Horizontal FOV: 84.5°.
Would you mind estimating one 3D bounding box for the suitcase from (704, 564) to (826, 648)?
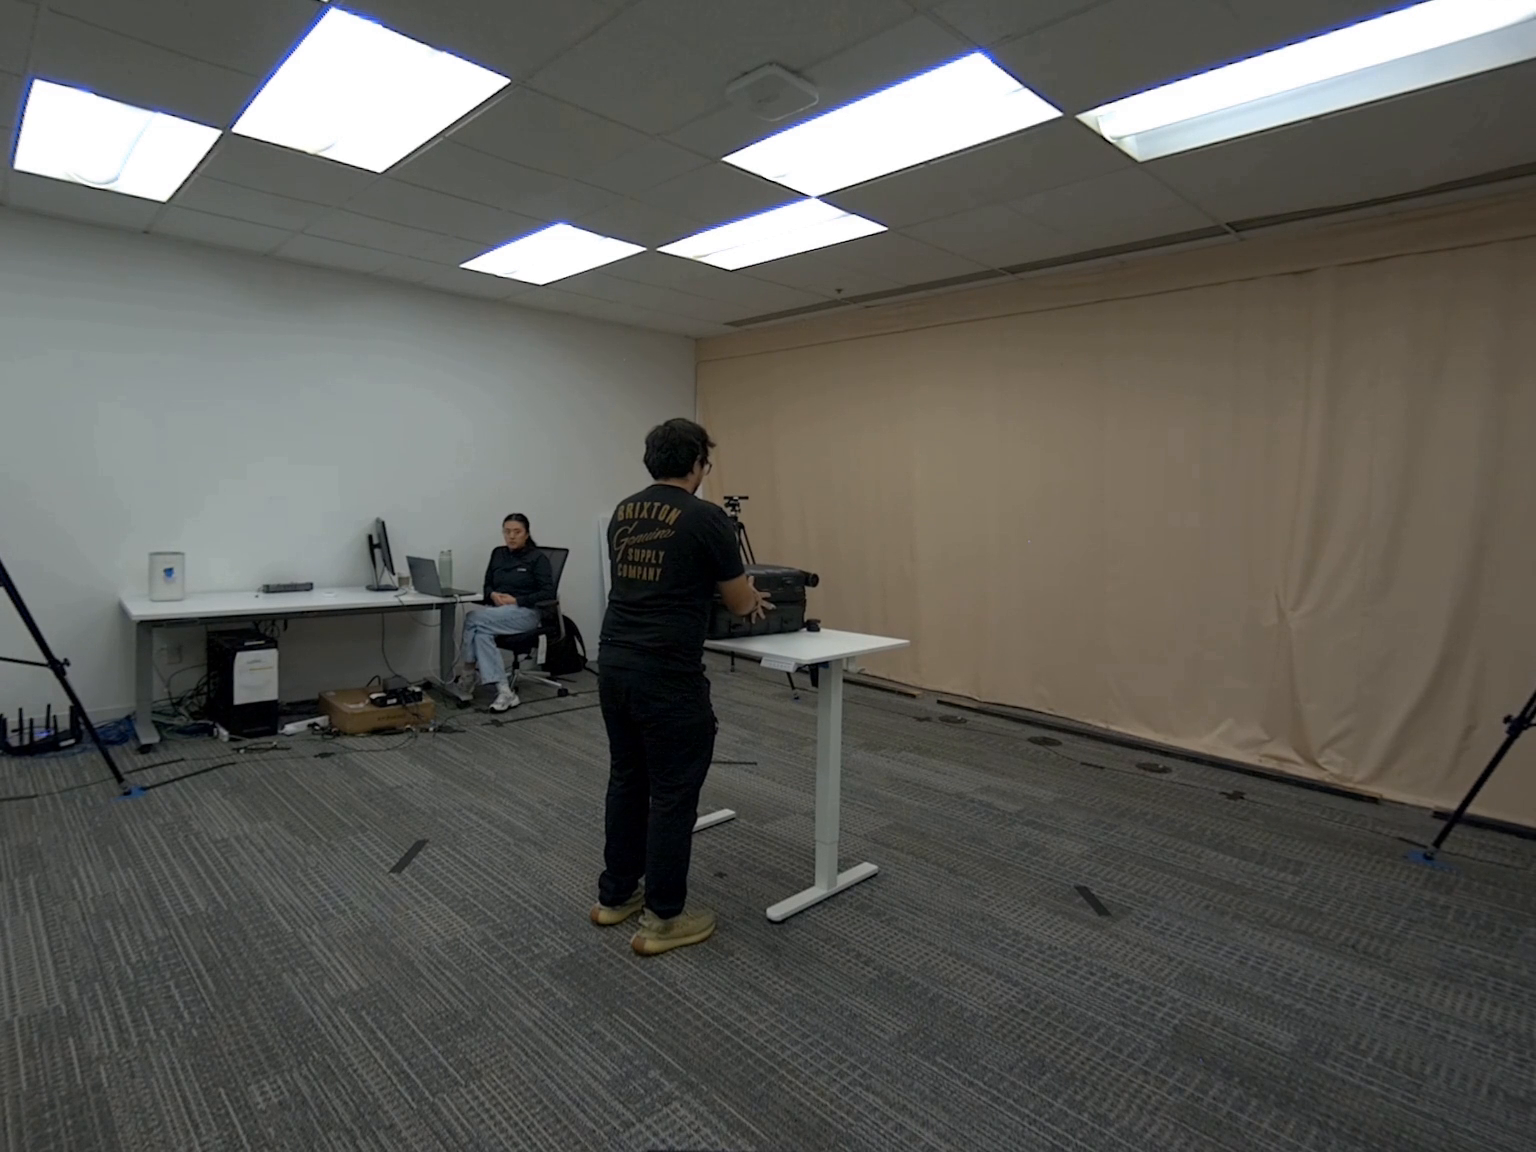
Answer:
[{"bbox_3d":[-0.116,0.095,3.224,0.537,0.248,0.385,-2,5,-40],"label":"suitcase"}]
